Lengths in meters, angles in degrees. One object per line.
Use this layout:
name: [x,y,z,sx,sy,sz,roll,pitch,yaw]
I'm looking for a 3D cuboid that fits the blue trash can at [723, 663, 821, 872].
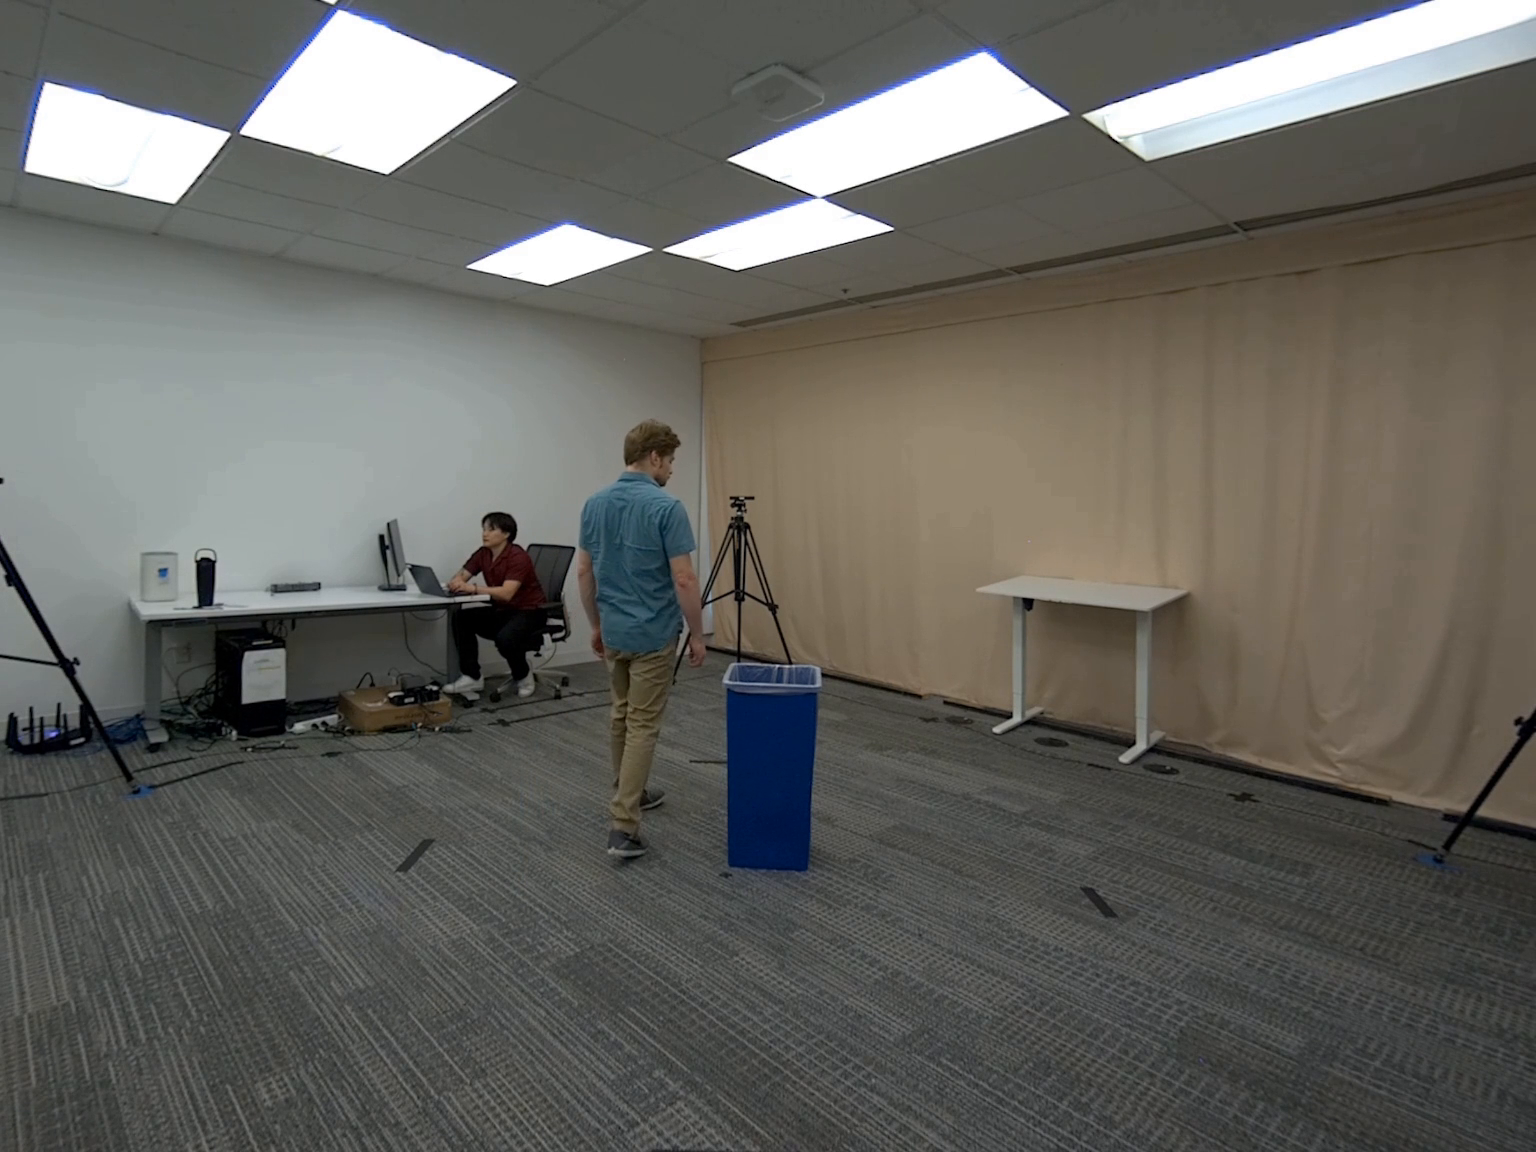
blue trash can: [-0.002,0.735,3.292,0.375,0.711,0.378,2,4,2]
